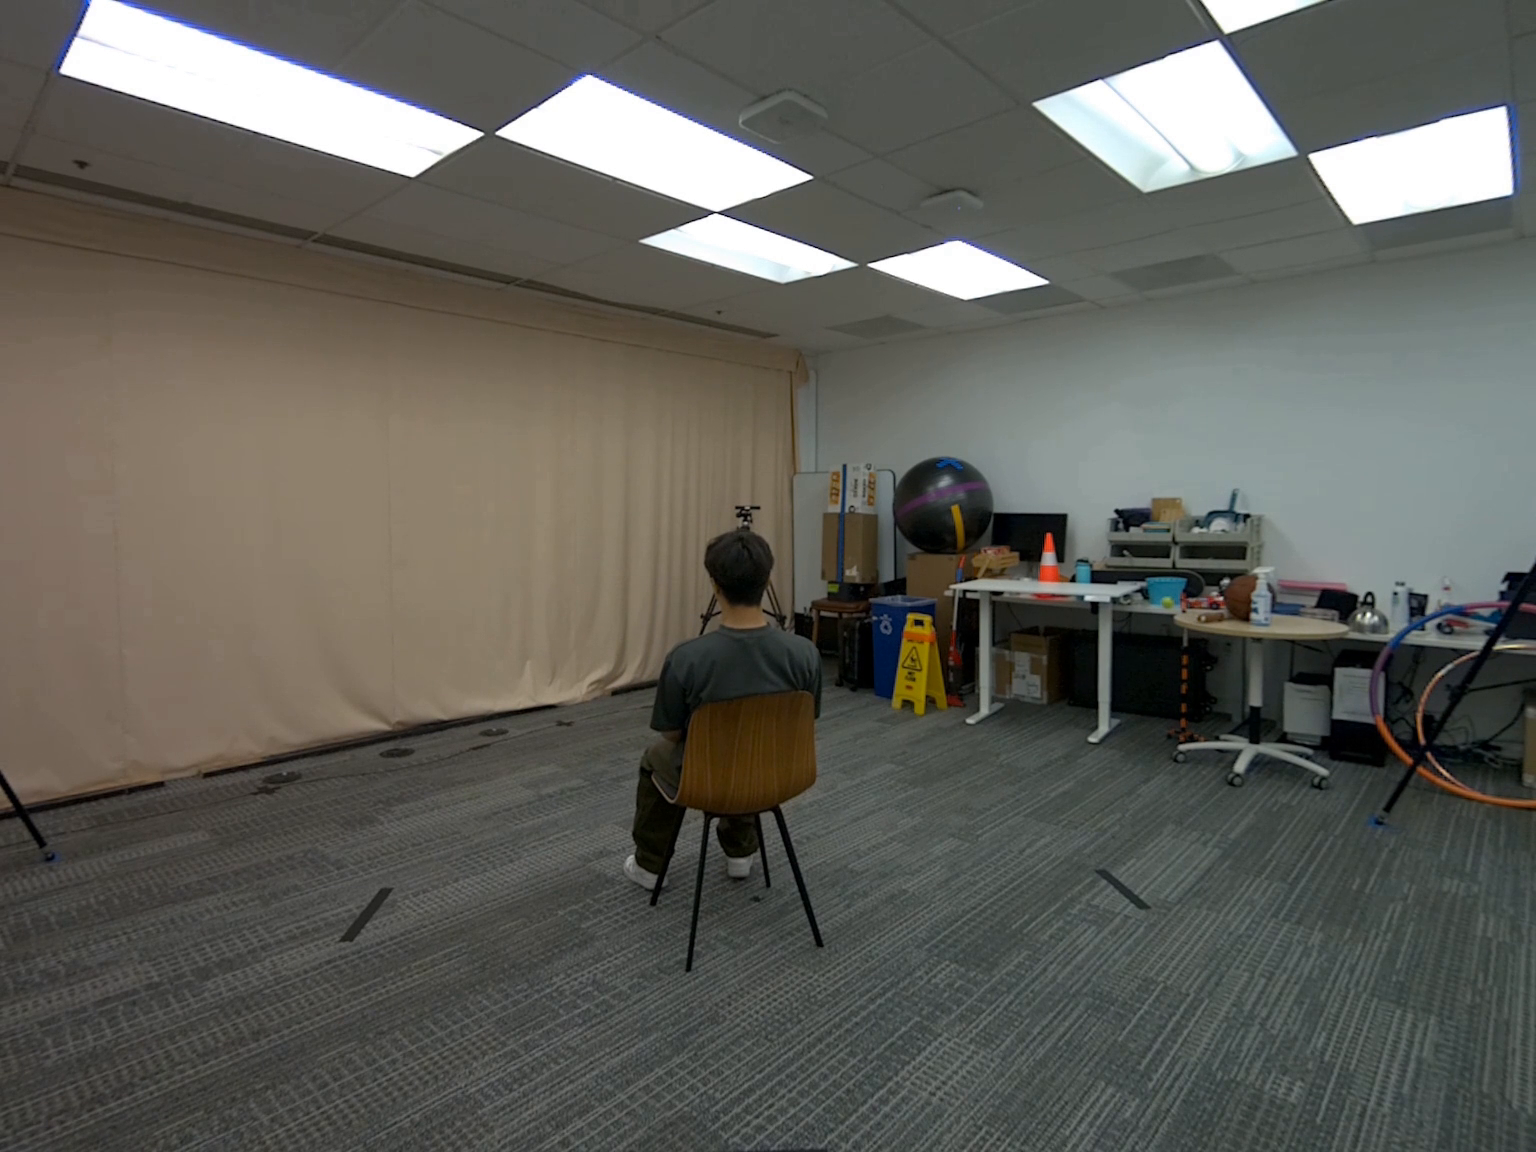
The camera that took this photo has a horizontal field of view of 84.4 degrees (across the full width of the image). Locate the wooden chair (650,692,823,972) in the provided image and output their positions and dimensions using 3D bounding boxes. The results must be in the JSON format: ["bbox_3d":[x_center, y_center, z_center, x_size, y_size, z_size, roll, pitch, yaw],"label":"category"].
[{"bbox_3d":[-0.118,0.730,2.773,0.469,0.873,0.536,-2,7,-20],"label":"wooden chair"}]
